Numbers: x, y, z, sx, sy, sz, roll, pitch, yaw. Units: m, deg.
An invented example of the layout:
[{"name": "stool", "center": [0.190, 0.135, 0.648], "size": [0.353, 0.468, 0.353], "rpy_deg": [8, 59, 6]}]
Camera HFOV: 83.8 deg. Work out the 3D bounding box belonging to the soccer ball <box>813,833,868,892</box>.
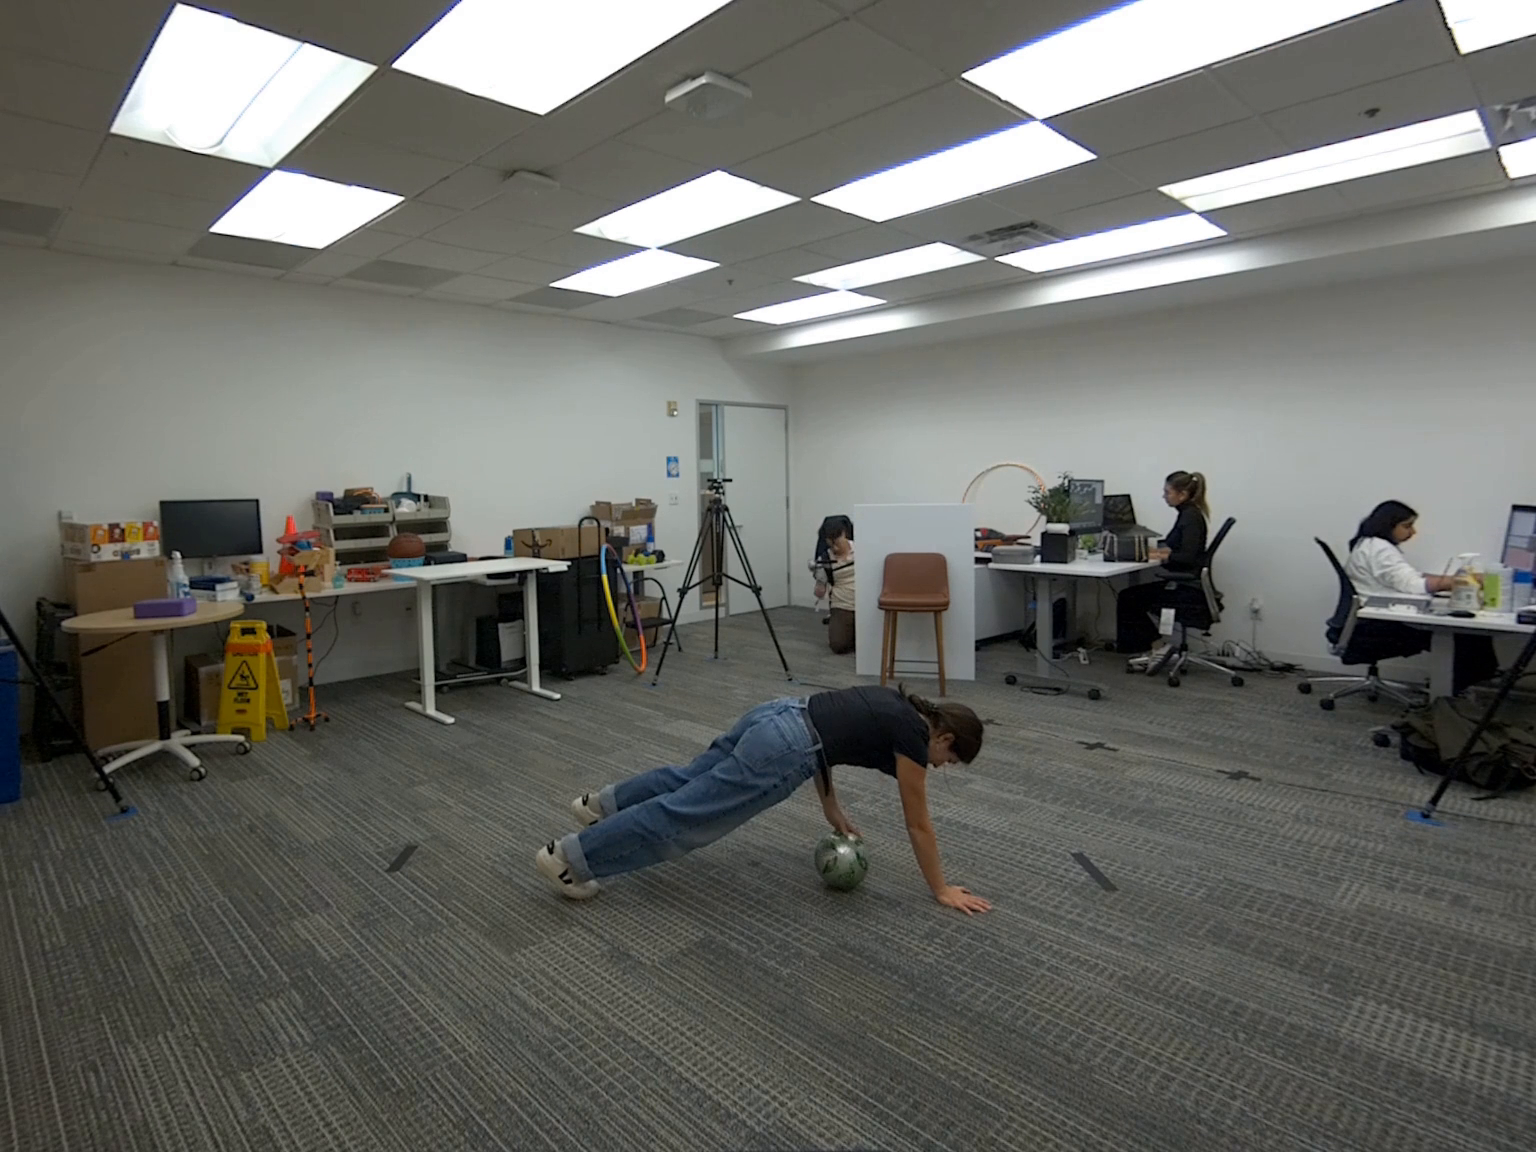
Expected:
[{"name": "soccer ball", "center": [0.256, 0.971, 2.919], "size": [0.187, 0.187, 0.188], "rpy_deg": [-1, 5, -2]}]
